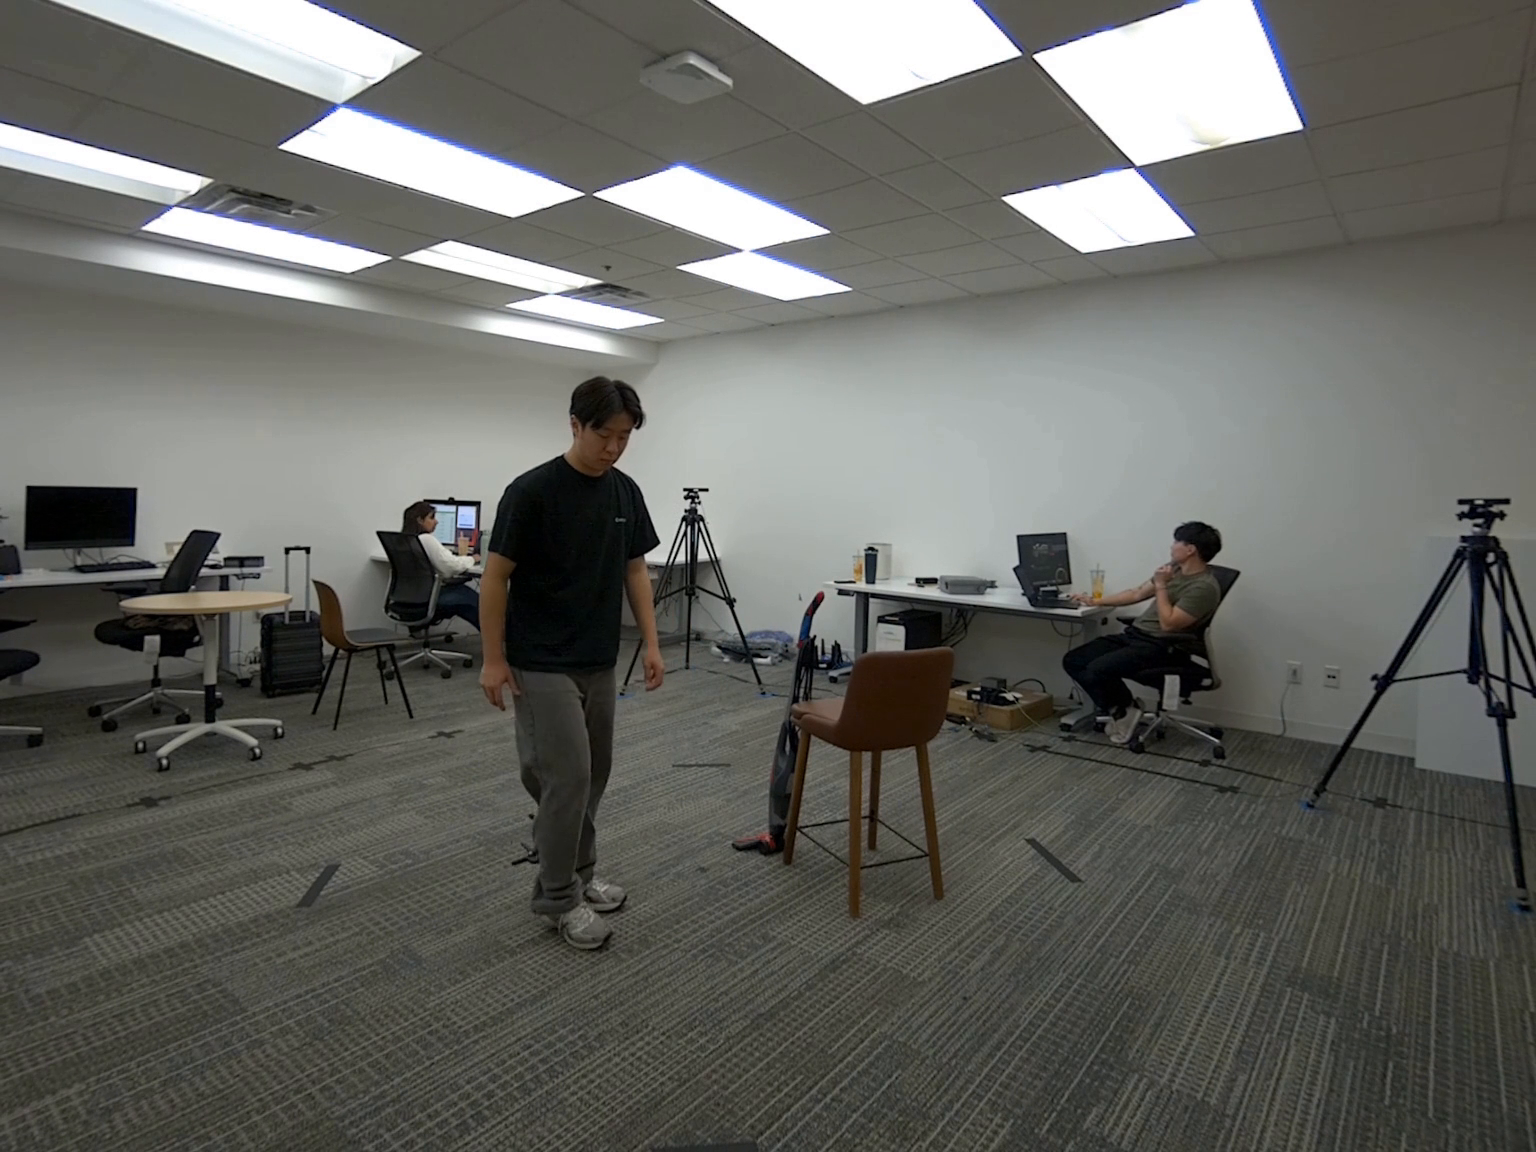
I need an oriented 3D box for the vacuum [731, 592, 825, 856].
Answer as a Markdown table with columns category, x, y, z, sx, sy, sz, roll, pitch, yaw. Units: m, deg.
| category | x | y | z | sx | sy | sz | roll | pitch | yaw |
| --- | --- | --- | --- | --- | --- | --- | --- | --- | --- |
| vacuum | 0.089 | 0.558 | 3.189 | 0.245 | 1.039 | 0.150 | 0 | 17 | -41 |
